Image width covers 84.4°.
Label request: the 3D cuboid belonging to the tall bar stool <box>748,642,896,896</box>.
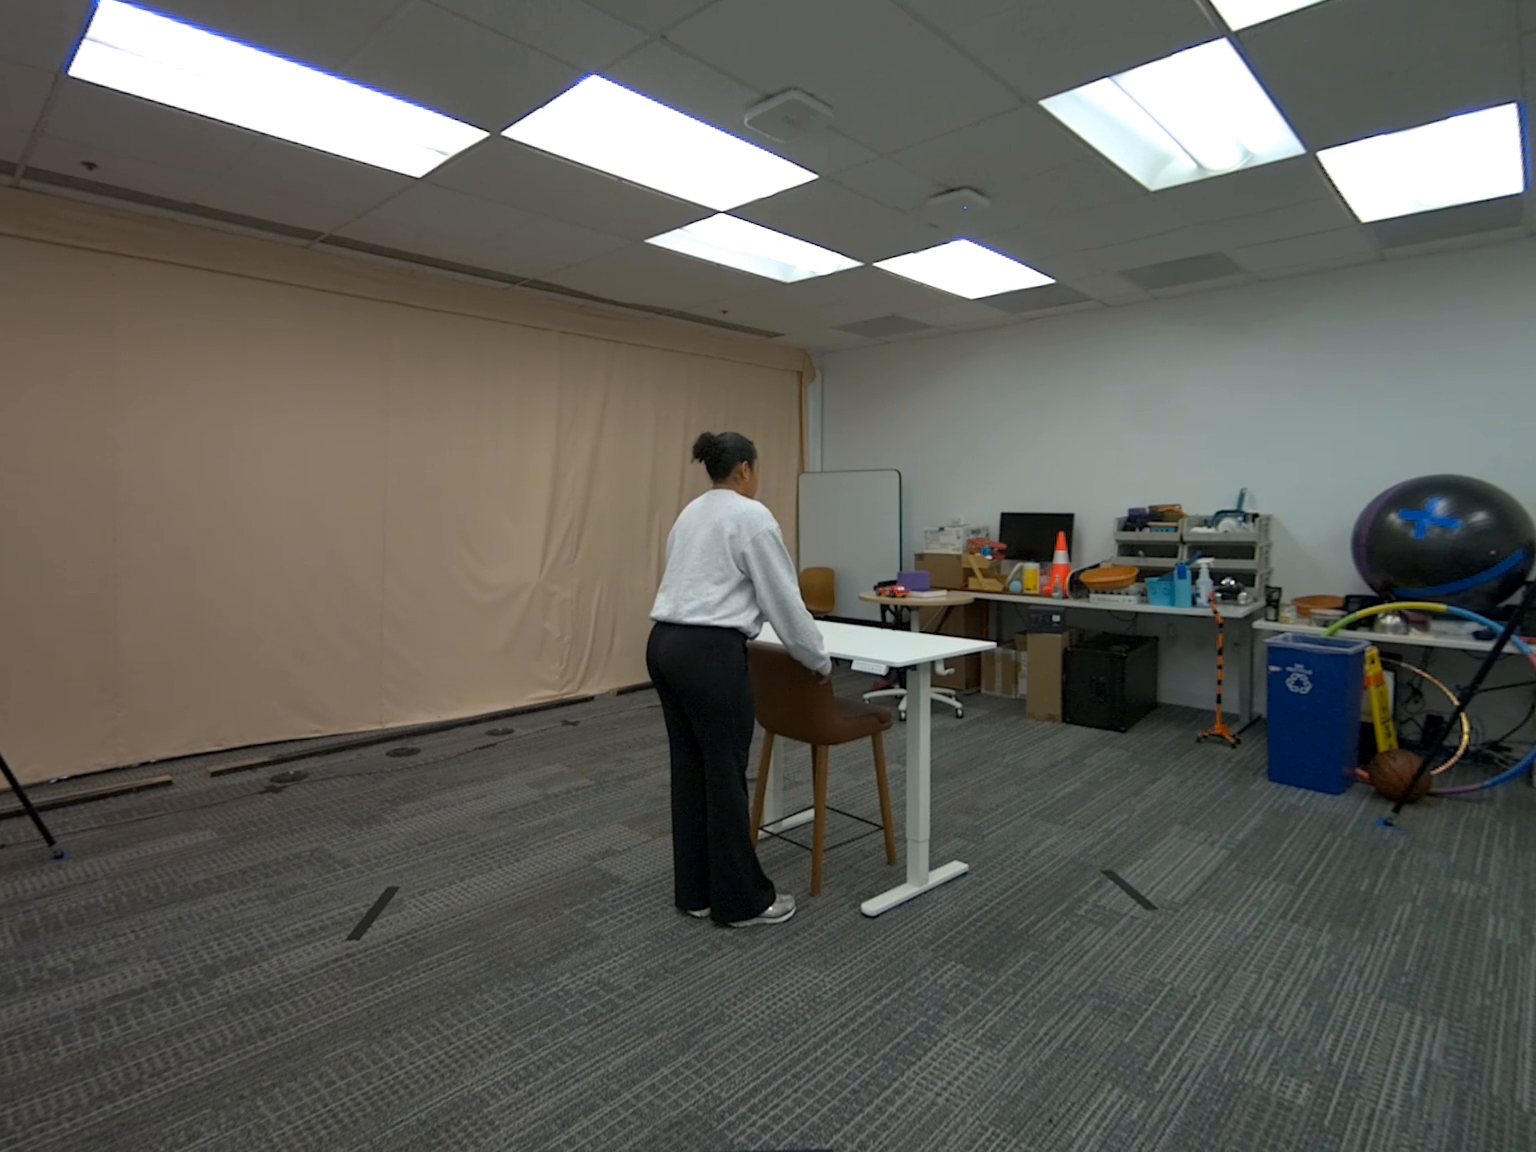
[{"bbox_3d":[0.193,0.689,3.252,0.454,0.887,0.471,-6,6,-42],"label":"tall bar stool"}]
